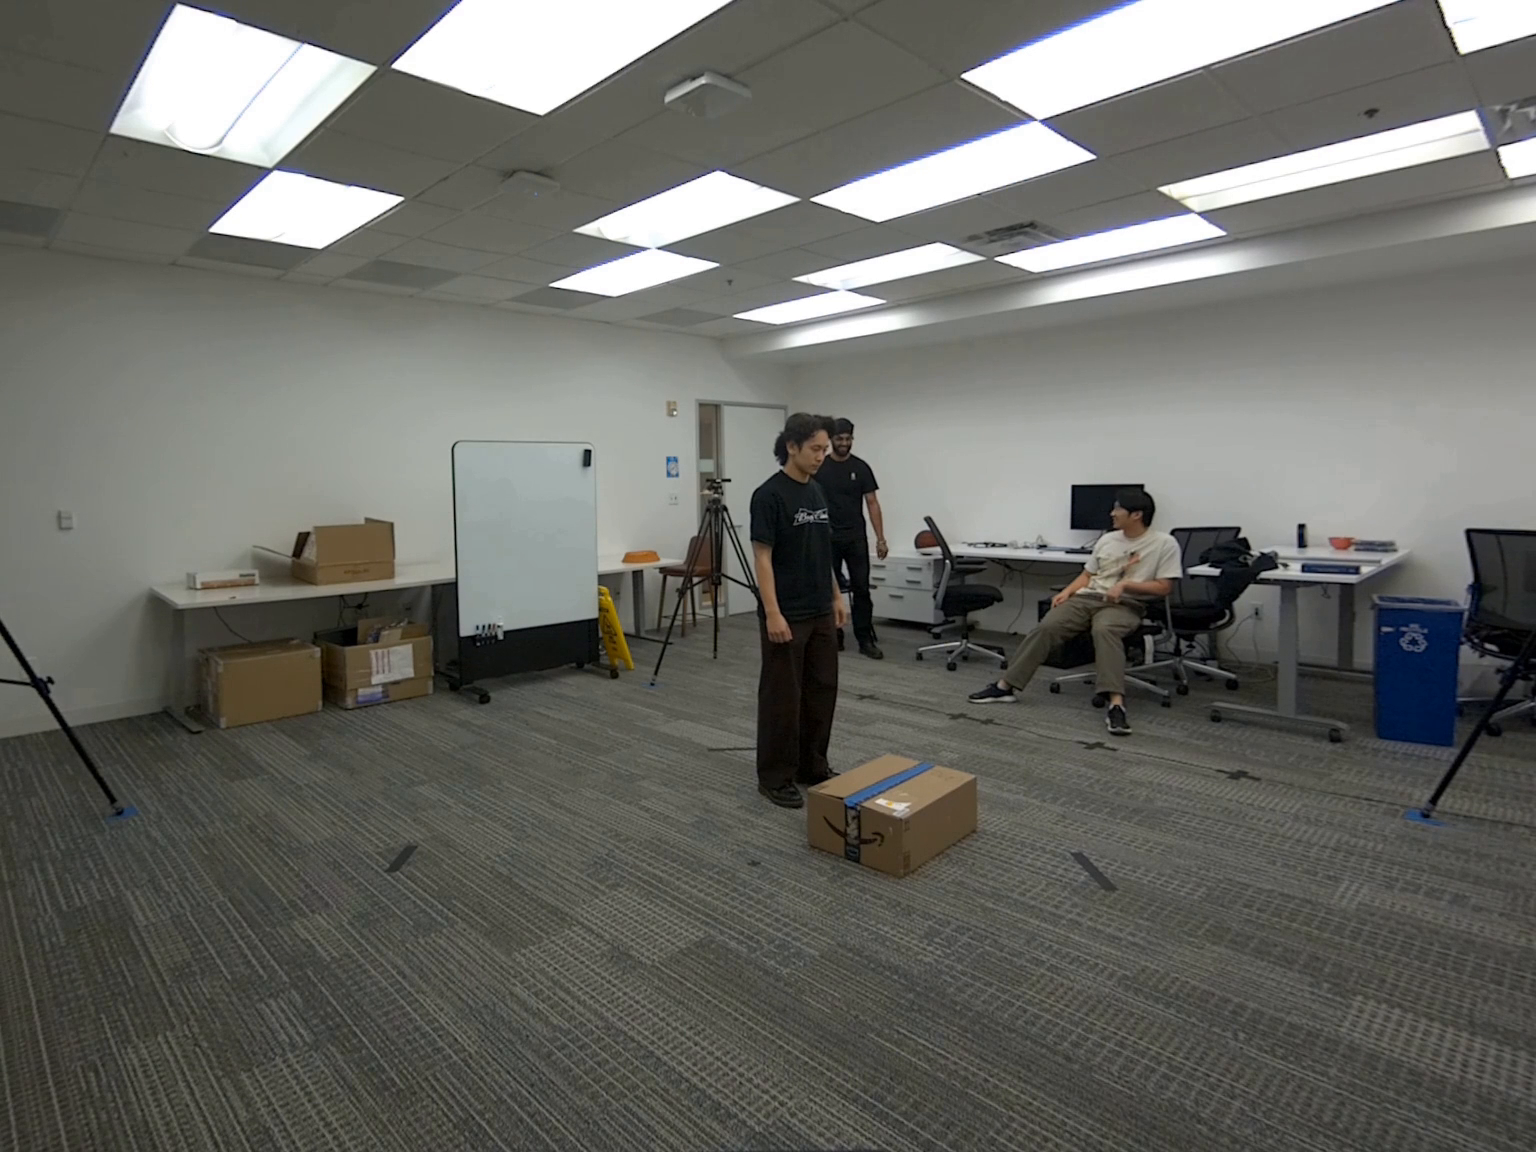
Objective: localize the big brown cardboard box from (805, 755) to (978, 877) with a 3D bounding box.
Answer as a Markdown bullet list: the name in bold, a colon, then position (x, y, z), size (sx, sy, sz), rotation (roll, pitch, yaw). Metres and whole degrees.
- **big brown cardboard box**: position (0.479, 0.899, 3.297), size (0.430, 0.232, 0.573), rotation (4, 6, 41)
